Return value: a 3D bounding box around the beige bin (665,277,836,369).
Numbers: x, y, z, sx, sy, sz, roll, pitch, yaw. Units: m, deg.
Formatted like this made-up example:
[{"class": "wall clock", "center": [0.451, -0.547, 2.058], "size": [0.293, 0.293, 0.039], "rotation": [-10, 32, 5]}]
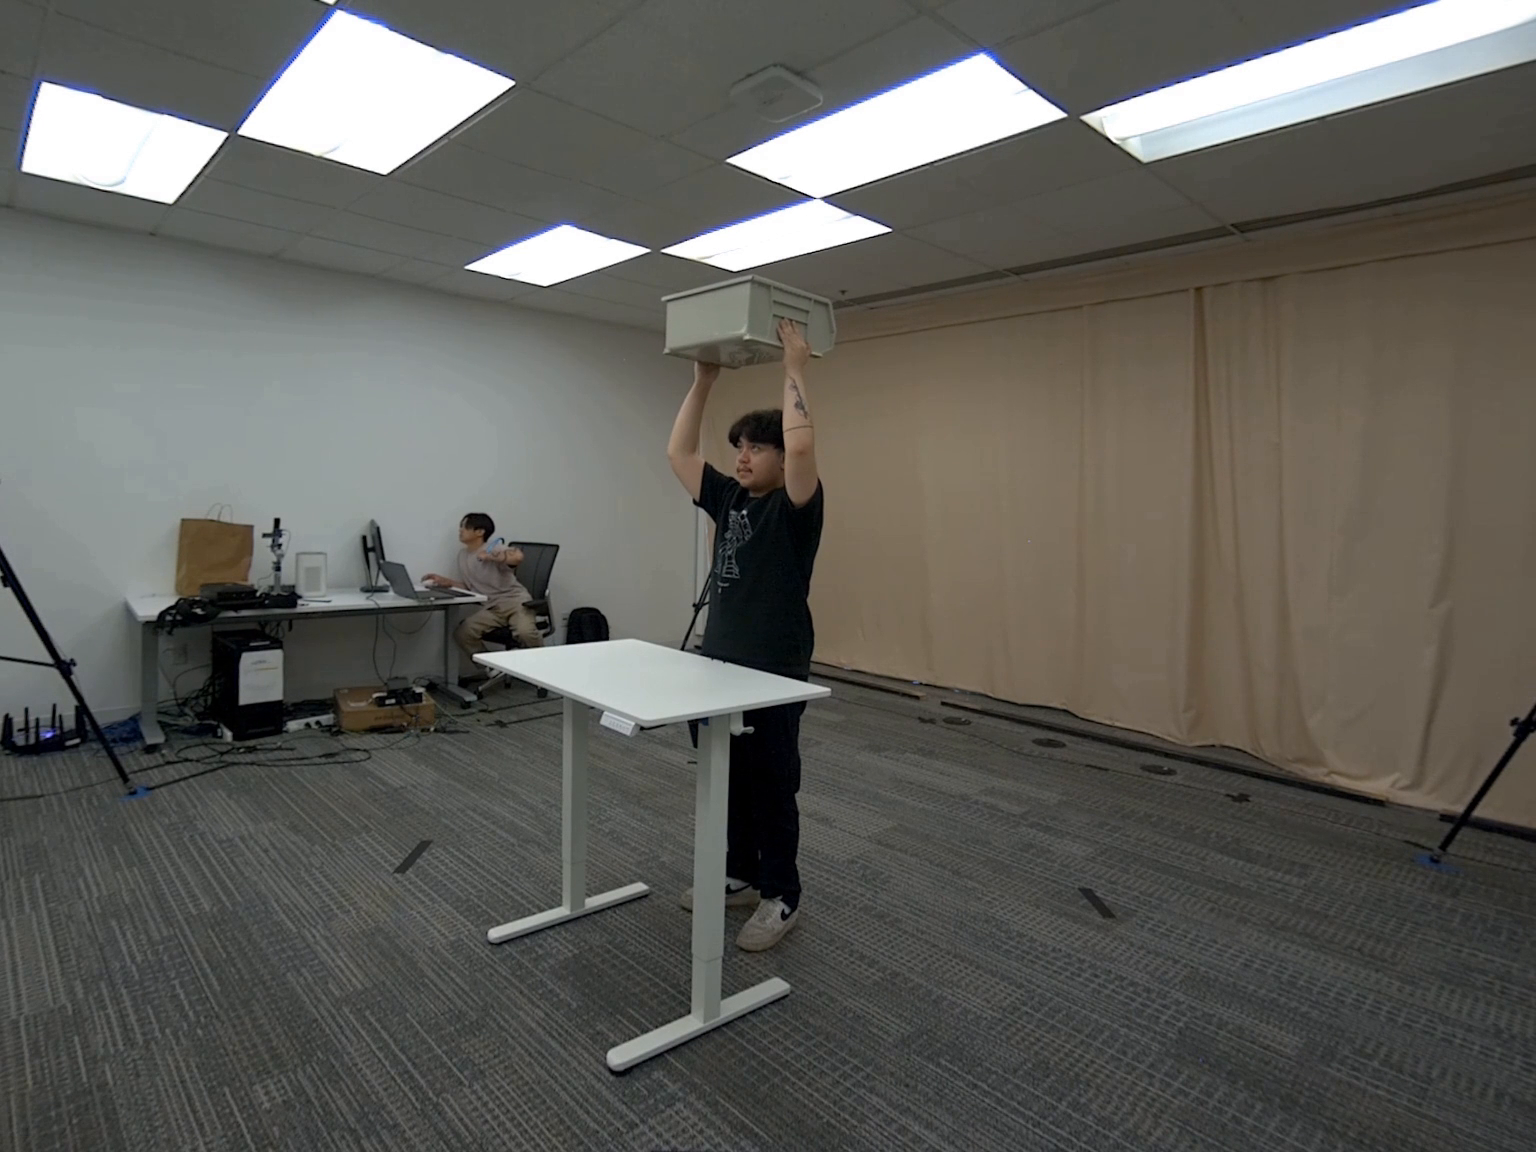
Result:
[{"class": "beige bin", "center": [-0.071, -0.784, 2.666], "size": [0.368, 0.188, 0.433], "rotation": [0, 5, -44]}]
